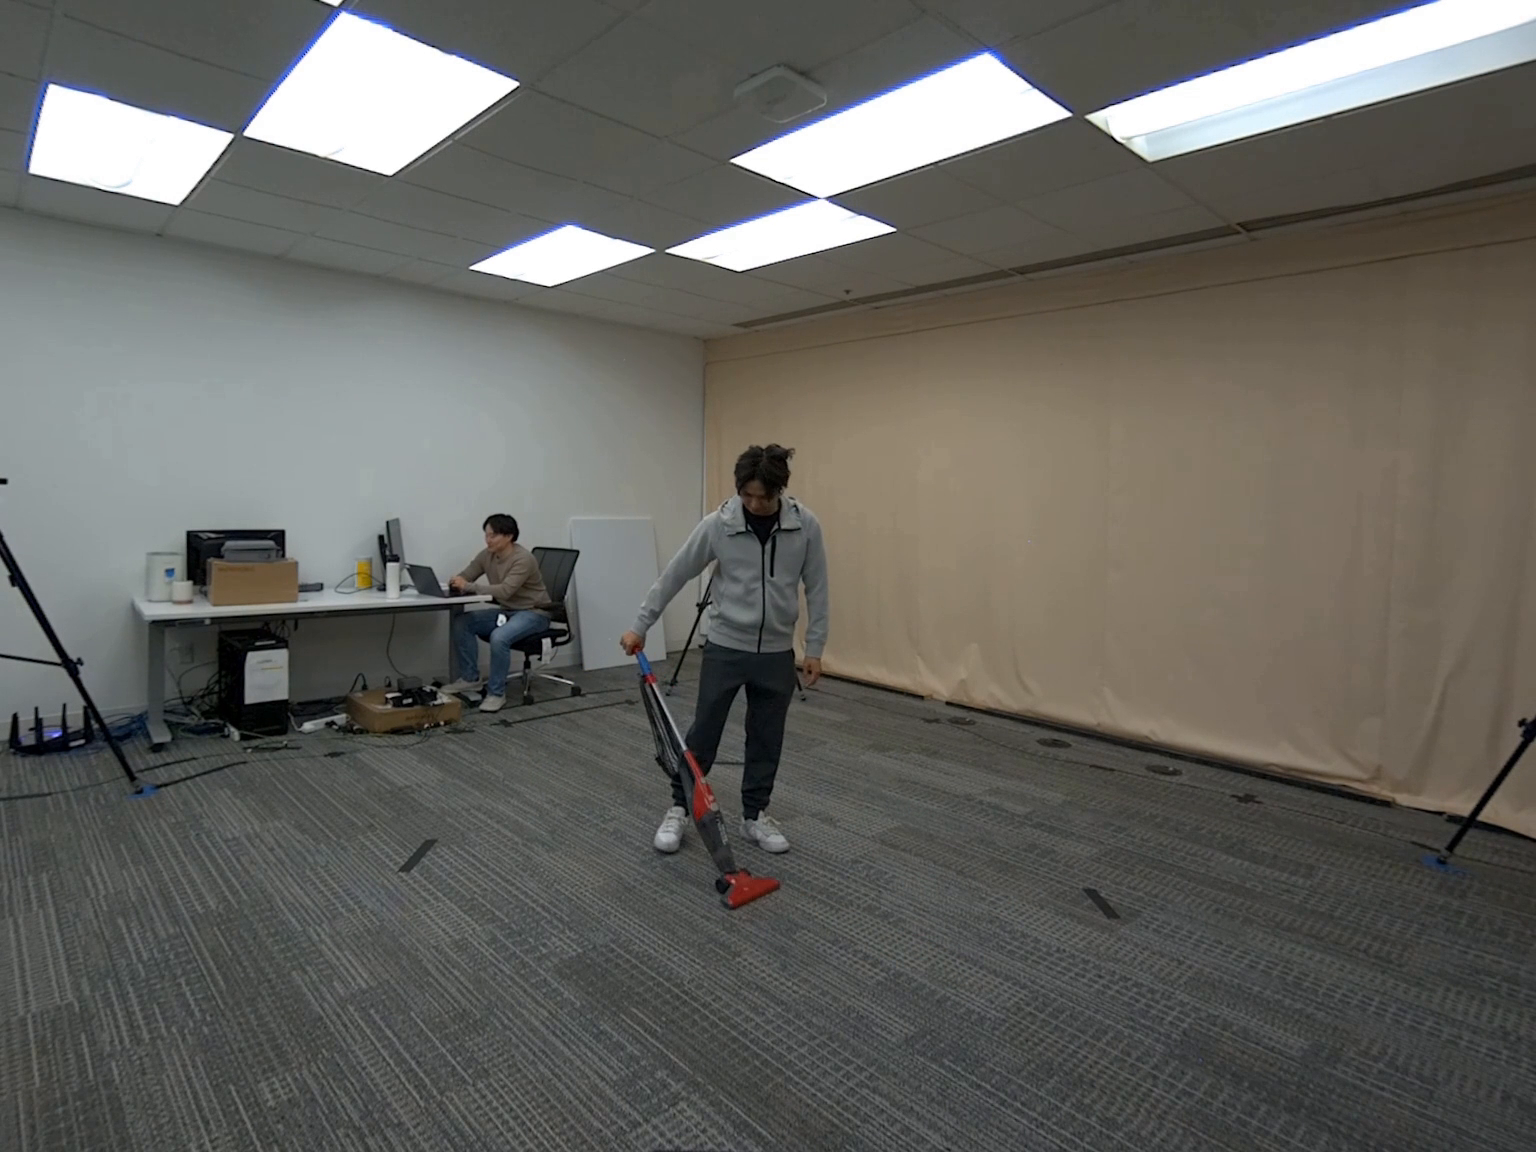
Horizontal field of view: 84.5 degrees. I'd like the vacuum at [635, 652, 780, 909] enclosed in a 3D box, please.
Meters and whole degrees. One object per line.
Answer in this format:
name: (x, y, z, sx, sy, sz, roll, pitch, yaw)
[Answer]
vacuum: (-0.324, 0.701, 3.183, 0.246, 1.075, 0.144, 5, -43, -50)
